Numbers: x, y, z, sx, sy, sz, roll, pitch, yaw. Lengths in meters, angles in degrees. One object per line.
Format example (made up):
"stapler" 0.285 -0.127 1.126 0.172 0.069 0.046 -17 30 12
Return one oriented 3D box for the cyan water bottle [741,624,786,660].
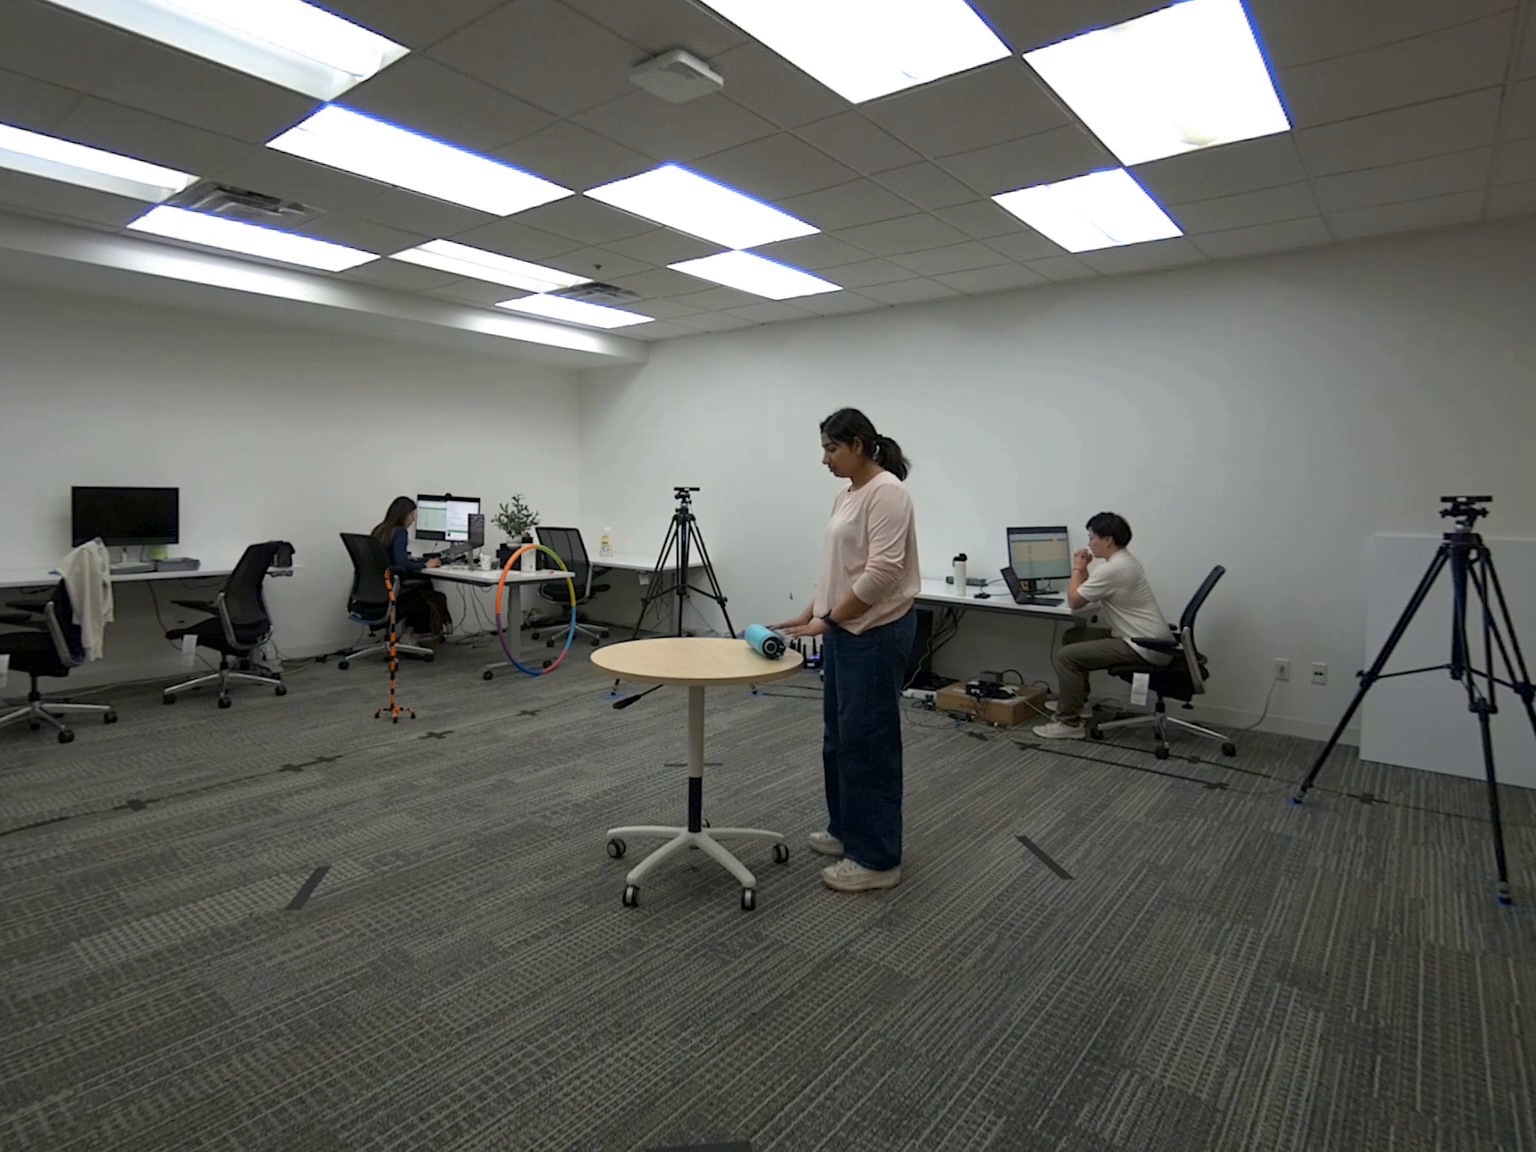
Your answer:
"cyan water bottle" -0.025 0.236 3.127 0.091 0.092 0.289 0 6 -16
